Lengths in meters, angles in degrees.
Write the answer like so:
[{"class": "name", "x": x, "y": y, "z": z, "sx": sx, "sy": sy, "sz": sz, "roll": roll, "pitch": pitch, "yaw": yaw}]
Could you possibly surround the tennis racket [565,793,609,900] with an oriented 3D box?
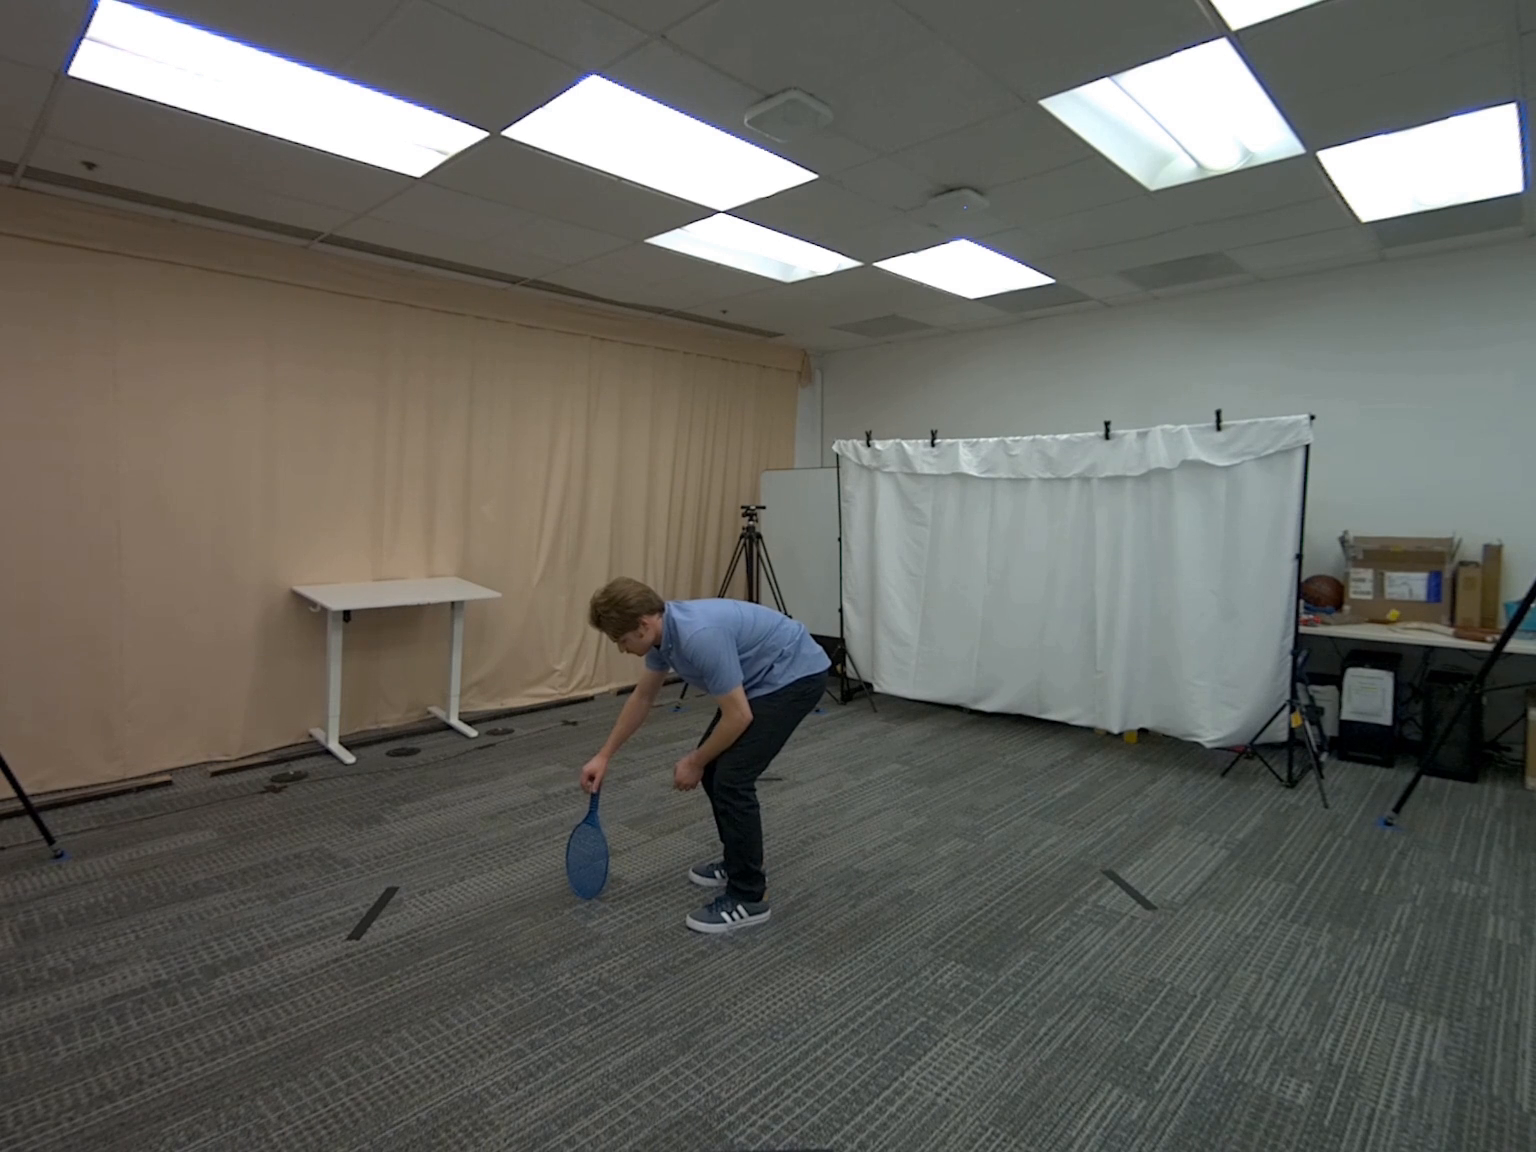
[{"class": "tennis racket", "x": -0.629, "y": 0.932, "z": 3.007, "sx": 0.221, "sy": 0.433, "sz": 0.031, "roll": 5, "pitch": -2, "yaw": 36}]
